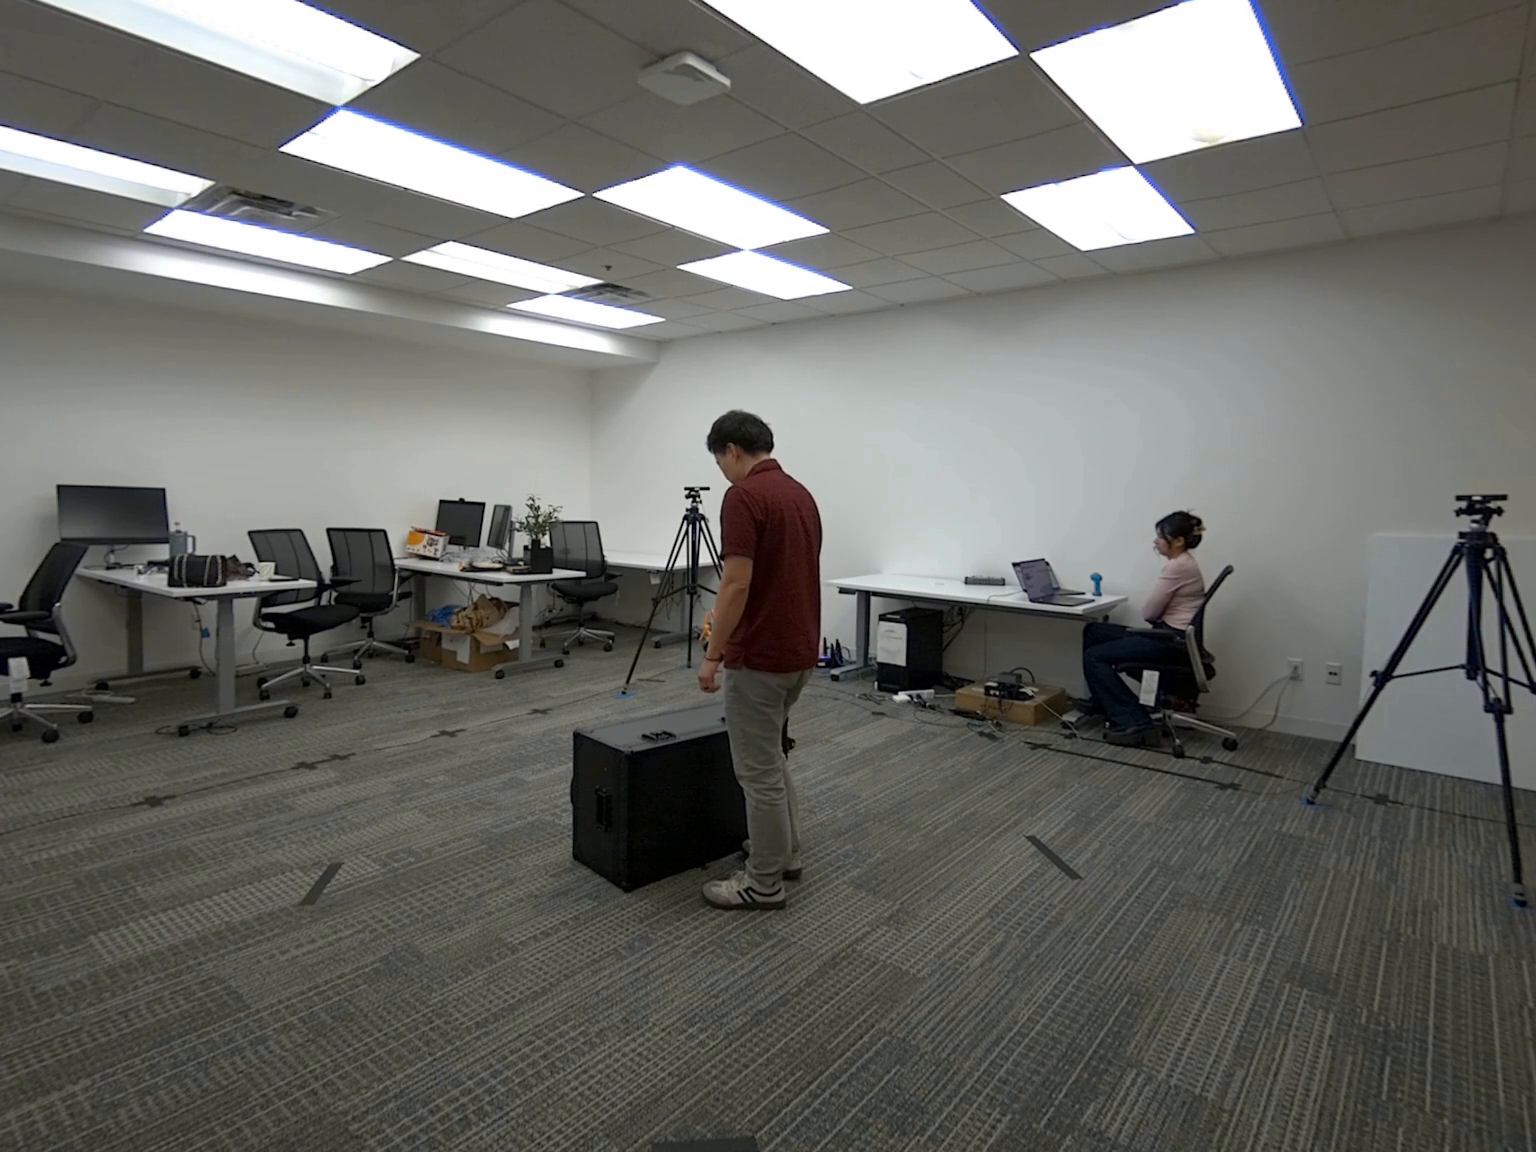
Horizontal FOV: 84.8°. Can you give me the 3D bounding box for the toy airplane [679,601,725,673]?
[{"bbox_3d":[-0.156,0.222,3.223,0.261,0.154,0.253,21,24,36],"label":"toy airplane"}]
